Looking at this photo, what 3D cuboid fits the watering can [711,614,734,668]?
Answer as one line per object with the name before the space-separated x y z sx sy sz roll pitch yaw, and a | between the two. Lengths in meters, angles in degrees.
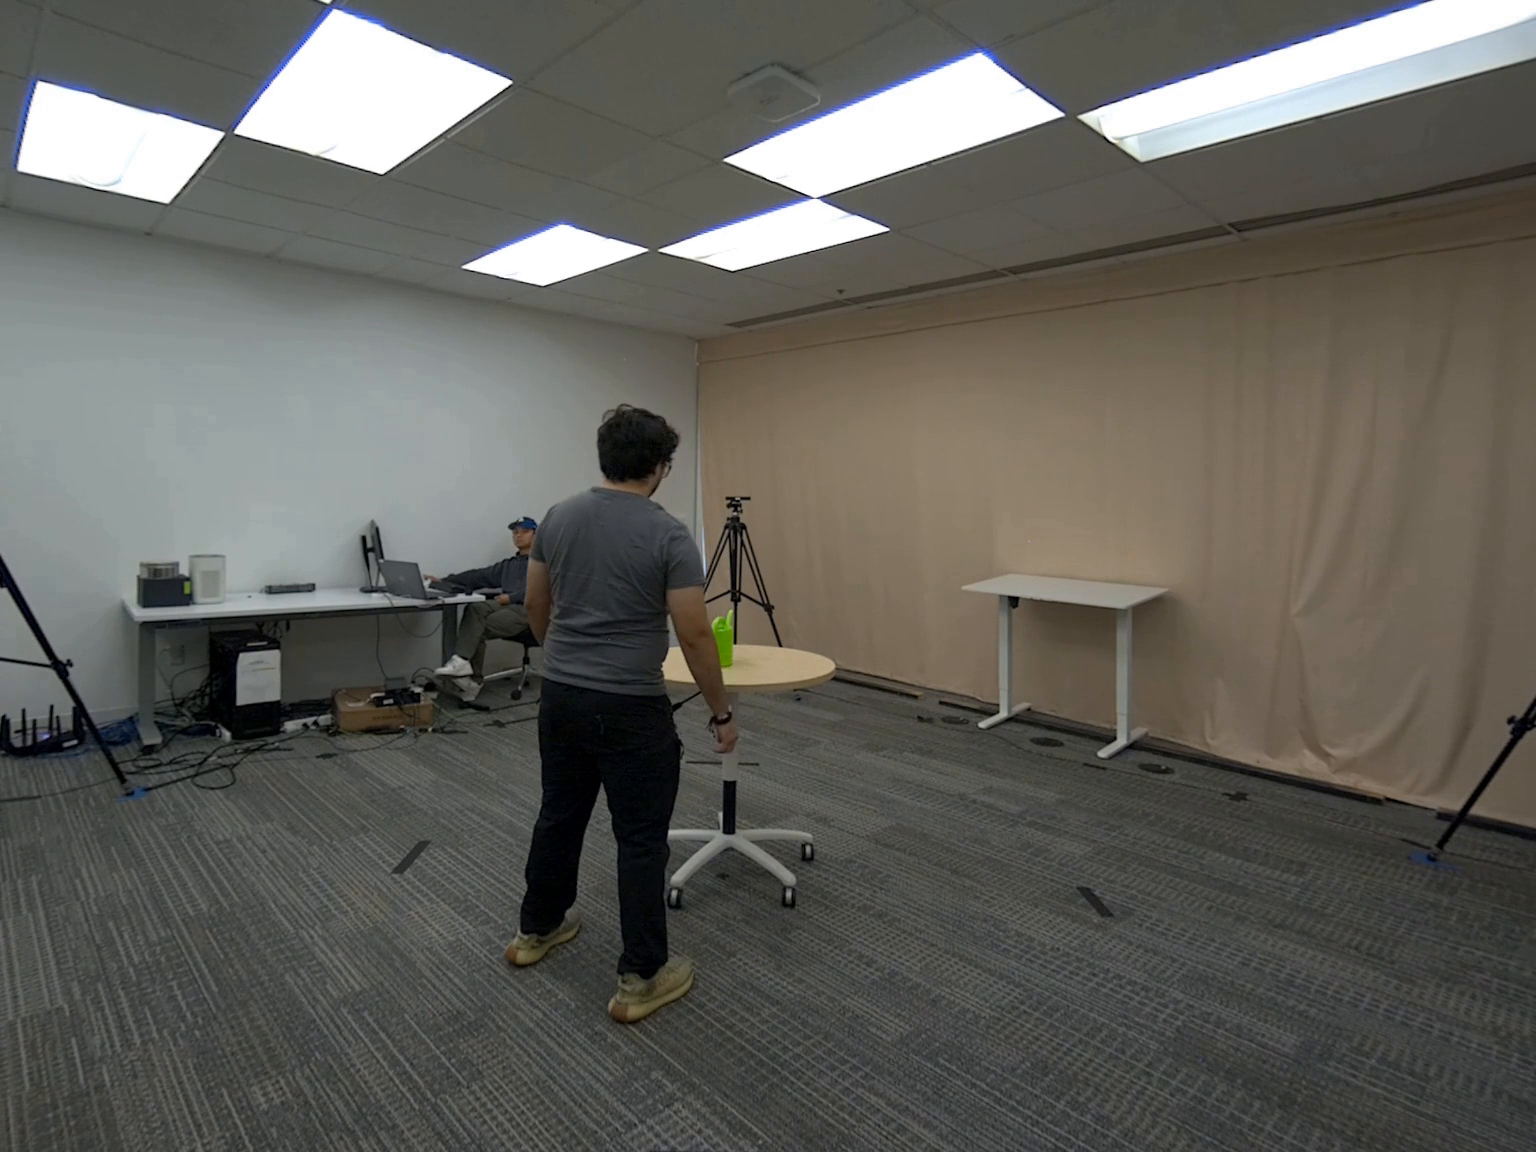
watering can | -0.169 0.236 3.117 0.100 0.176 0.274 2 7 22
